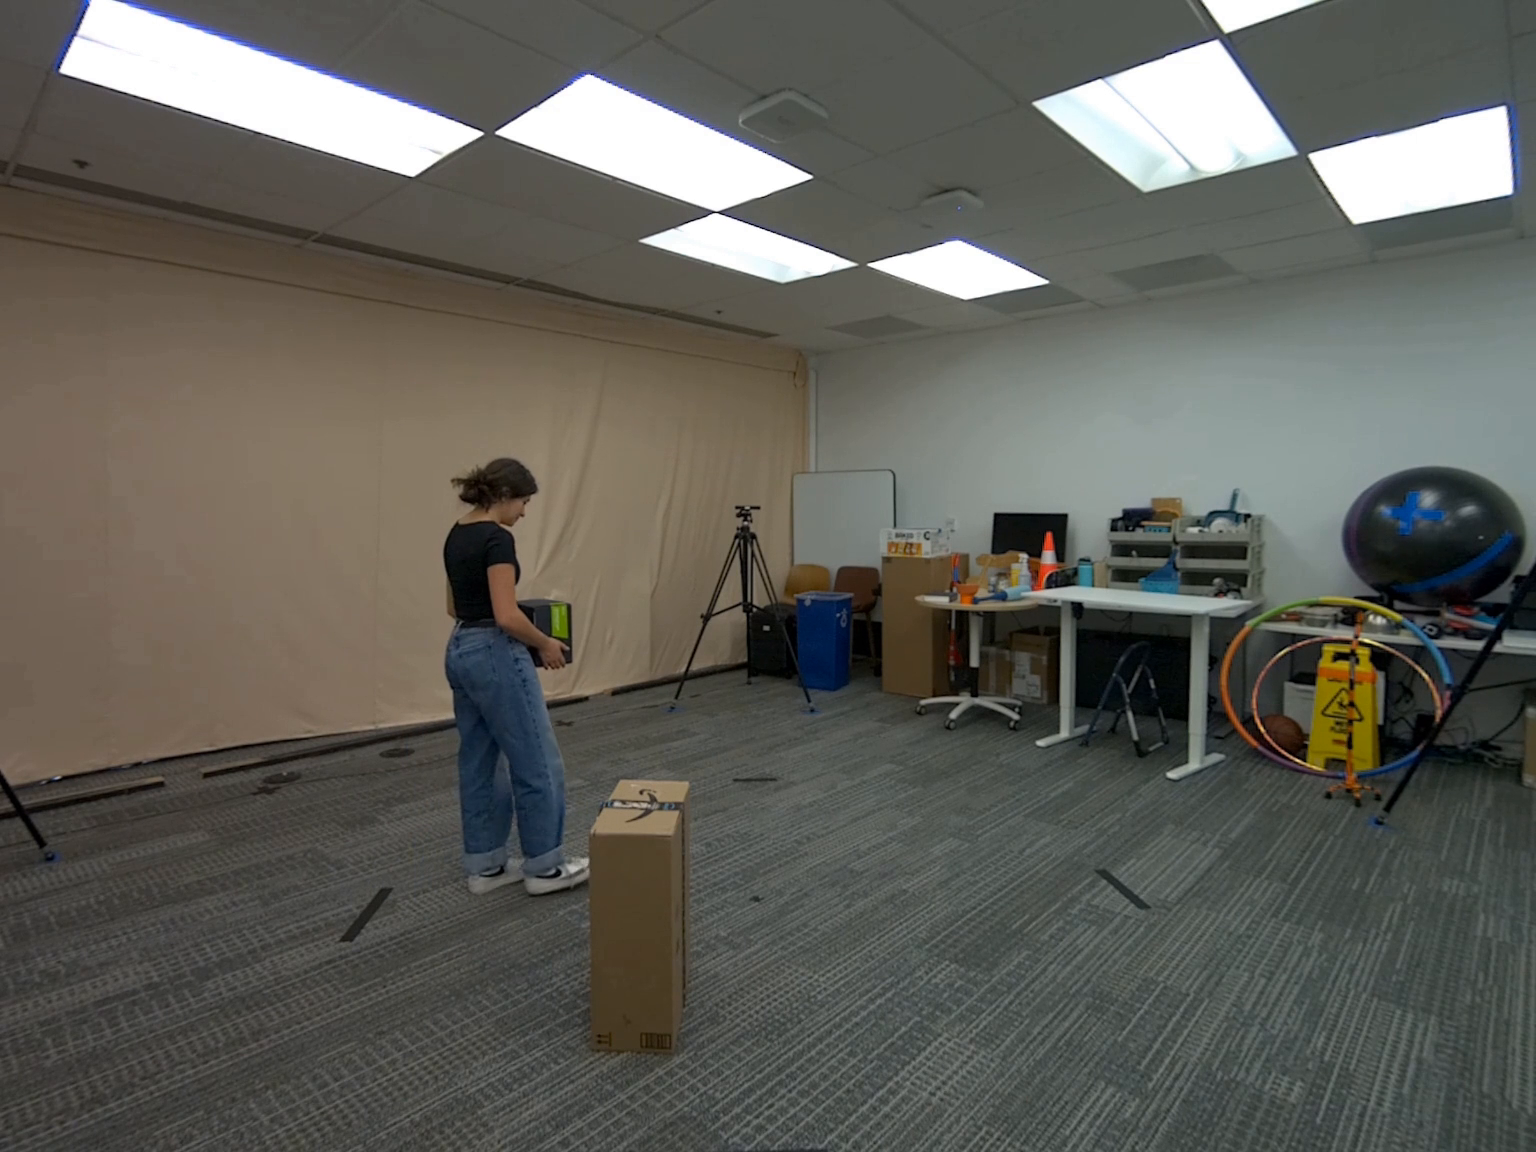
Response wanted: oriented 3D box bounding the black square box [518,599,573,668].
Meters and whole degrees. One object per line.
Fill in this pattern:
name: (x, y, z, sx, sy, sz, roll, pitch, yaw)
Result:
black square box: (-0.863, 0.208, 3.204, 0.151, 0.227, 0.224, -1, 6, -36)
